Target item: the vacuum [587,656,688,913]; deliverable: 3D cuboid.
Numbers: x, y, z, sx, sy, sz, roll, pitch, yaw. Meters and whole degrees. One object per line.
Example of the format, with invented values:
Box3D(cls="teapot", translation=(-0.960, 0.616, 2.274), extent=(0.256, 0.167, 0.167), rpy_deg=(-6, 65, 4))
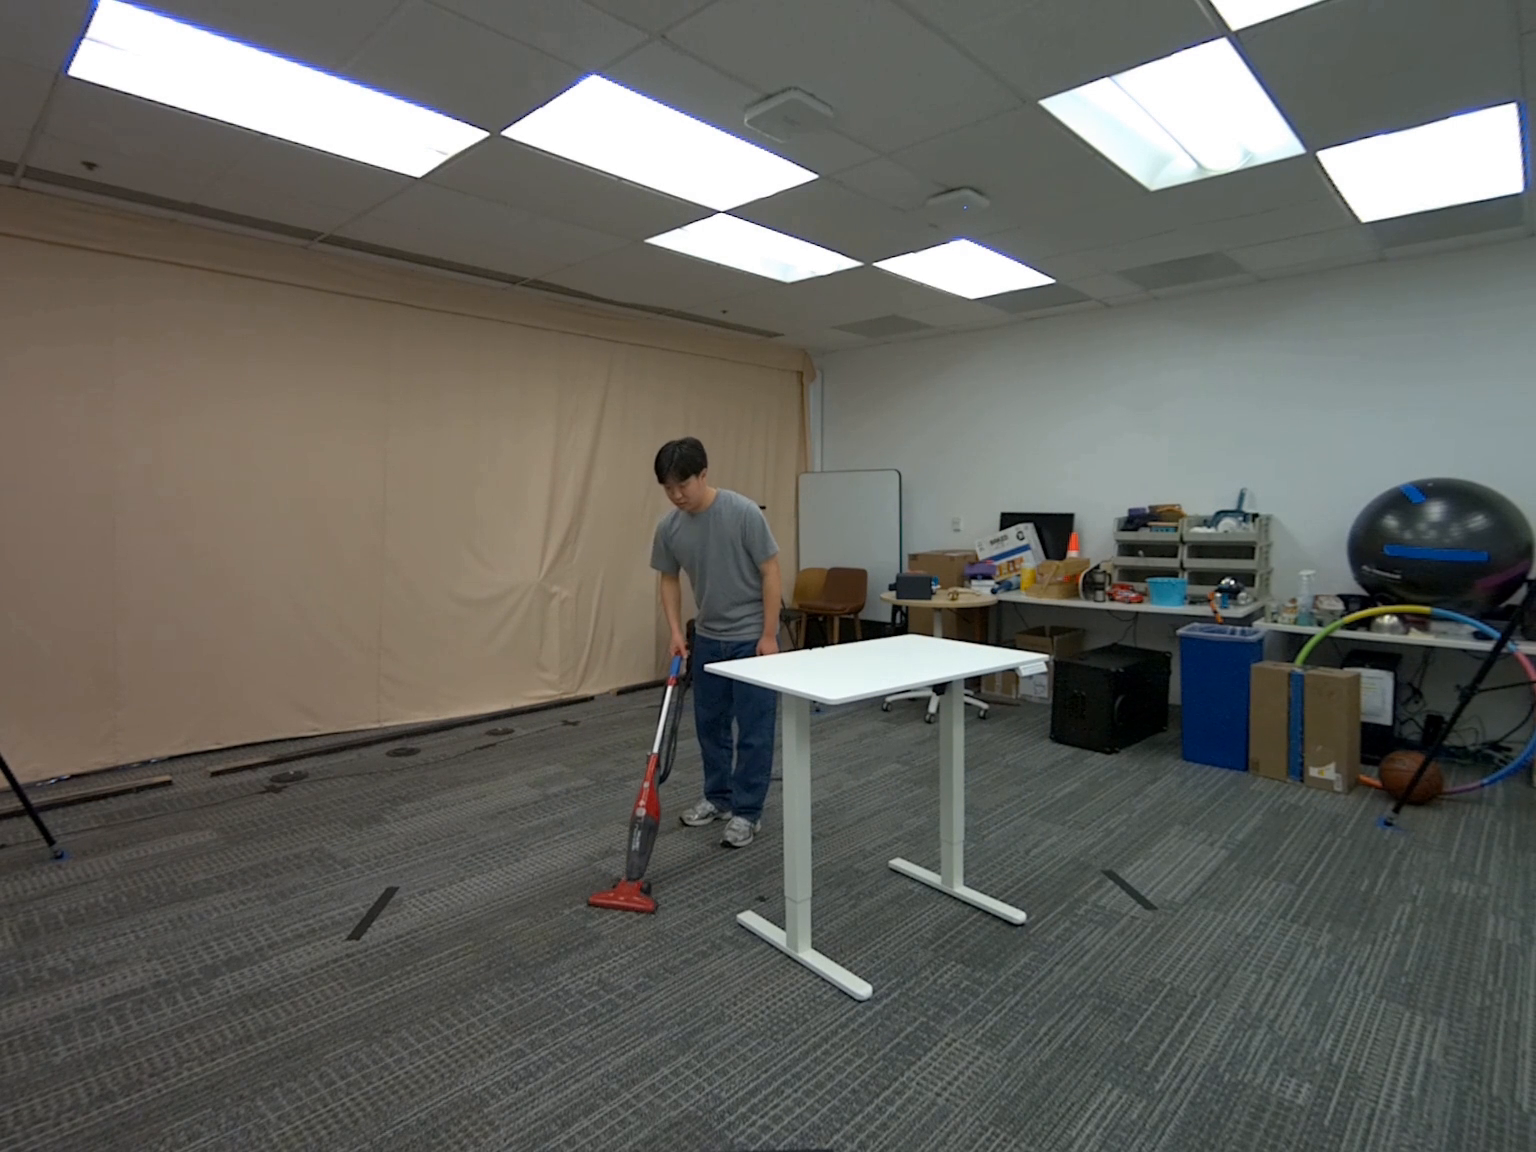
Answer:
Box3D(cls="vacuum", translation=(-0.424, 0.714, 3.281), extent=(0.257, 1.060, 0.140), rpy_deg=(-1, -38, 16))
